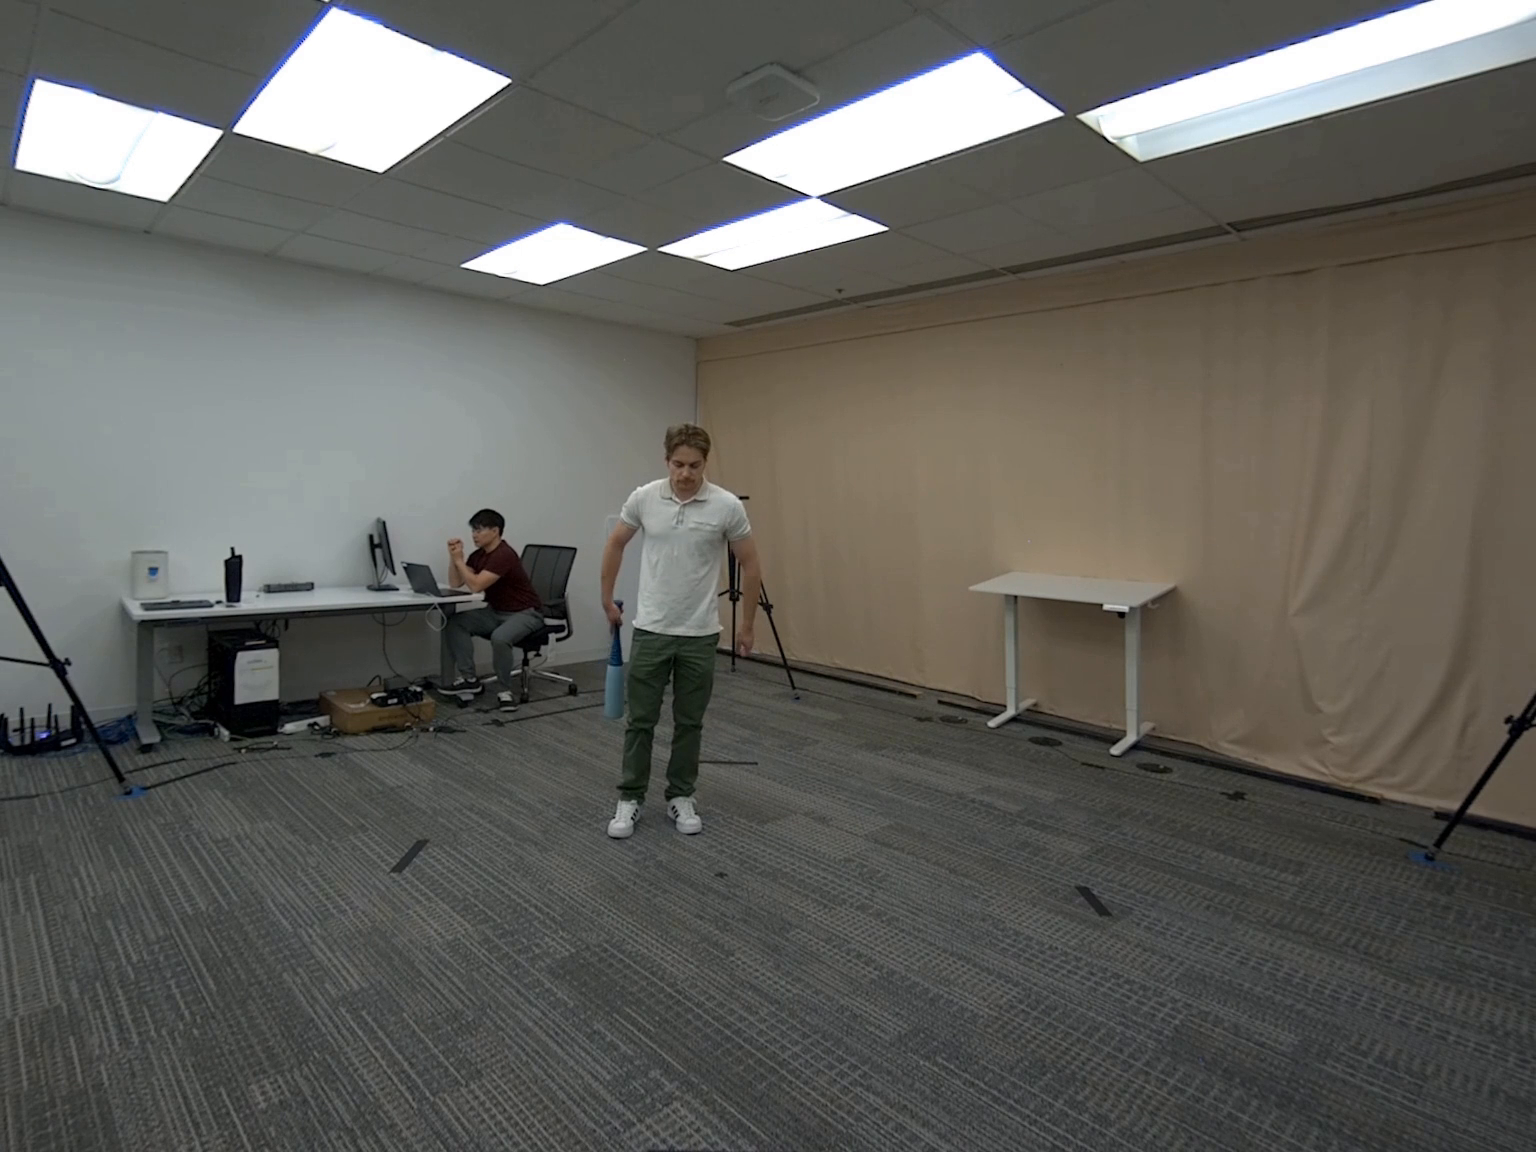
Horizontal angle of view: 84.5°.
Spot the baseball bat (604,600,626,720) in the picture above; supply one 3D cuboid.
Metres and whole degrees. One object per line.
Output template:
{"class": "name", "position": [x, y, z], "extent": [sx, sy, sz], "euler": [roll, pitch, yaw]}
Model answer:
{"class": "baseball bat", "position": [-0.674, 0.370, 3.716], "extent": [0.089, 0.539, 0.090], "euler": [3, 10, -2]}
